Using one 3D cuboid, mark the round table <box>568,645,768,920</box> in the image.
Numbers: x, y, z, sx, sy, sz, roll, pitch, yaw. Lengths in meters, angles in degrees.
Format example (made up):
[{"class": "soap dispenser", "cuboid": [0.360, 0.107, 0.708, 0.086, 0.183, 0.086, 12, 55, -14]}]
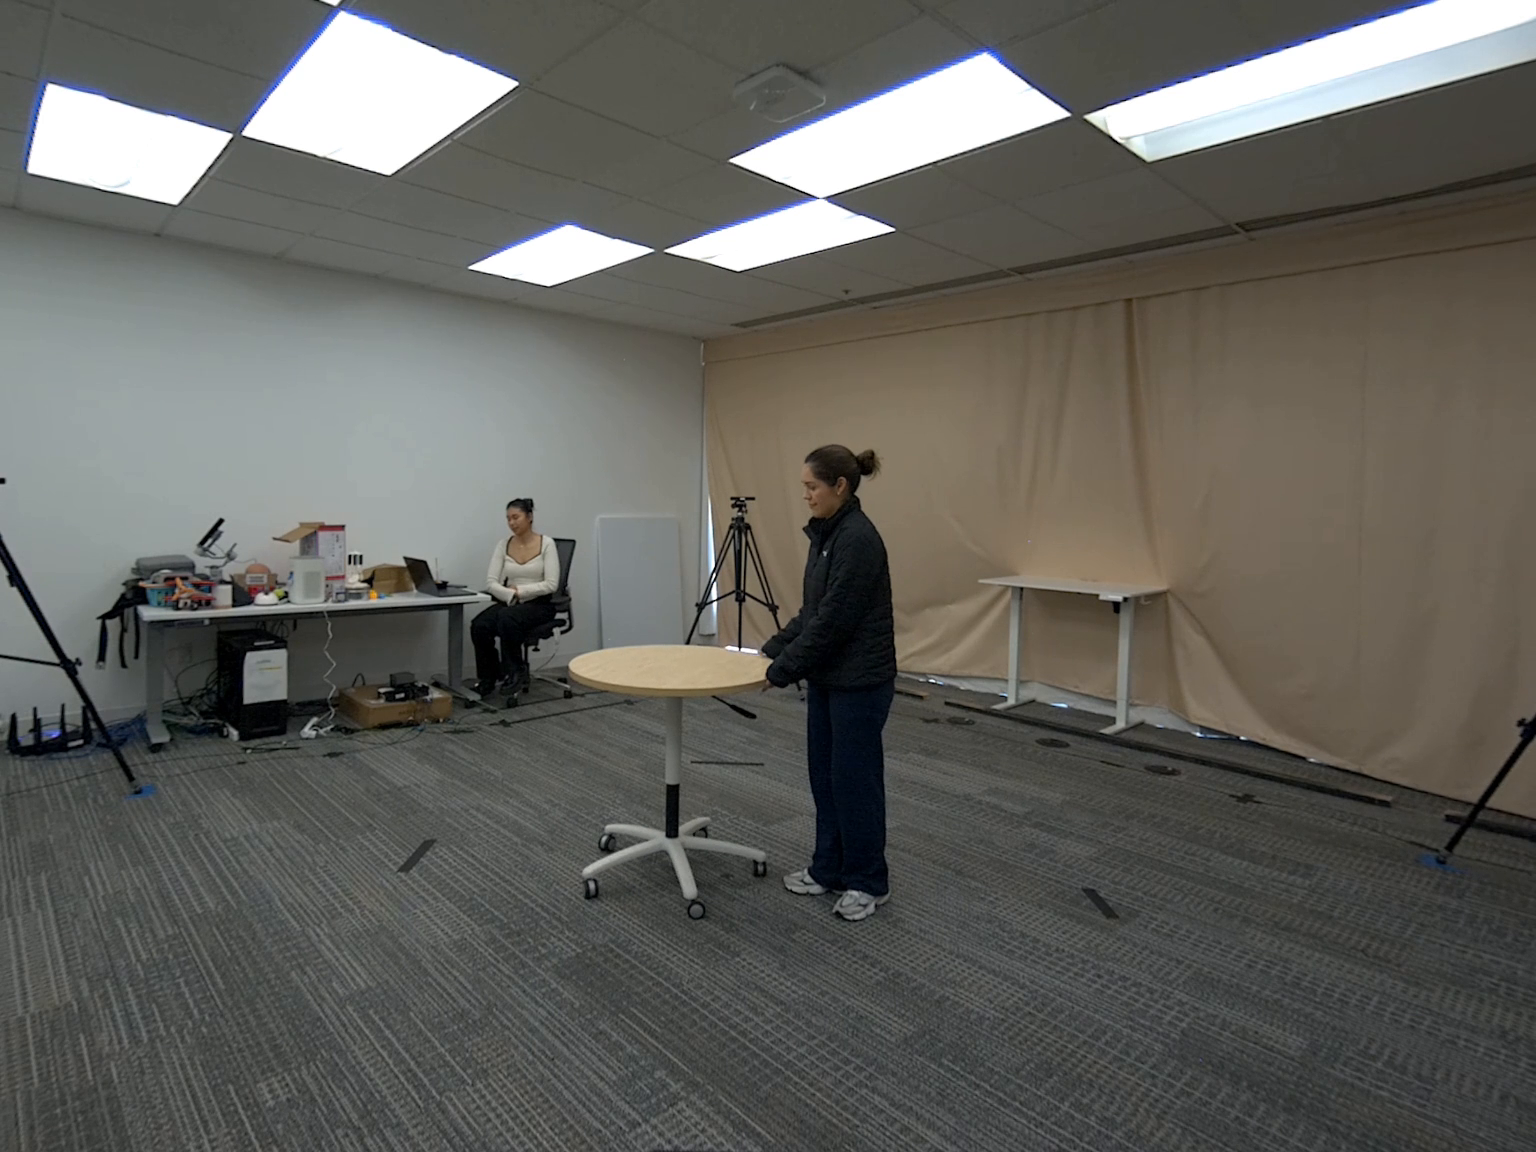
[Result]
[{"class": "round table", "cuboid": [-0.349, 0.709, 3.076, 0.784, 0.784, 0.788, 2, 4, -1]}]
